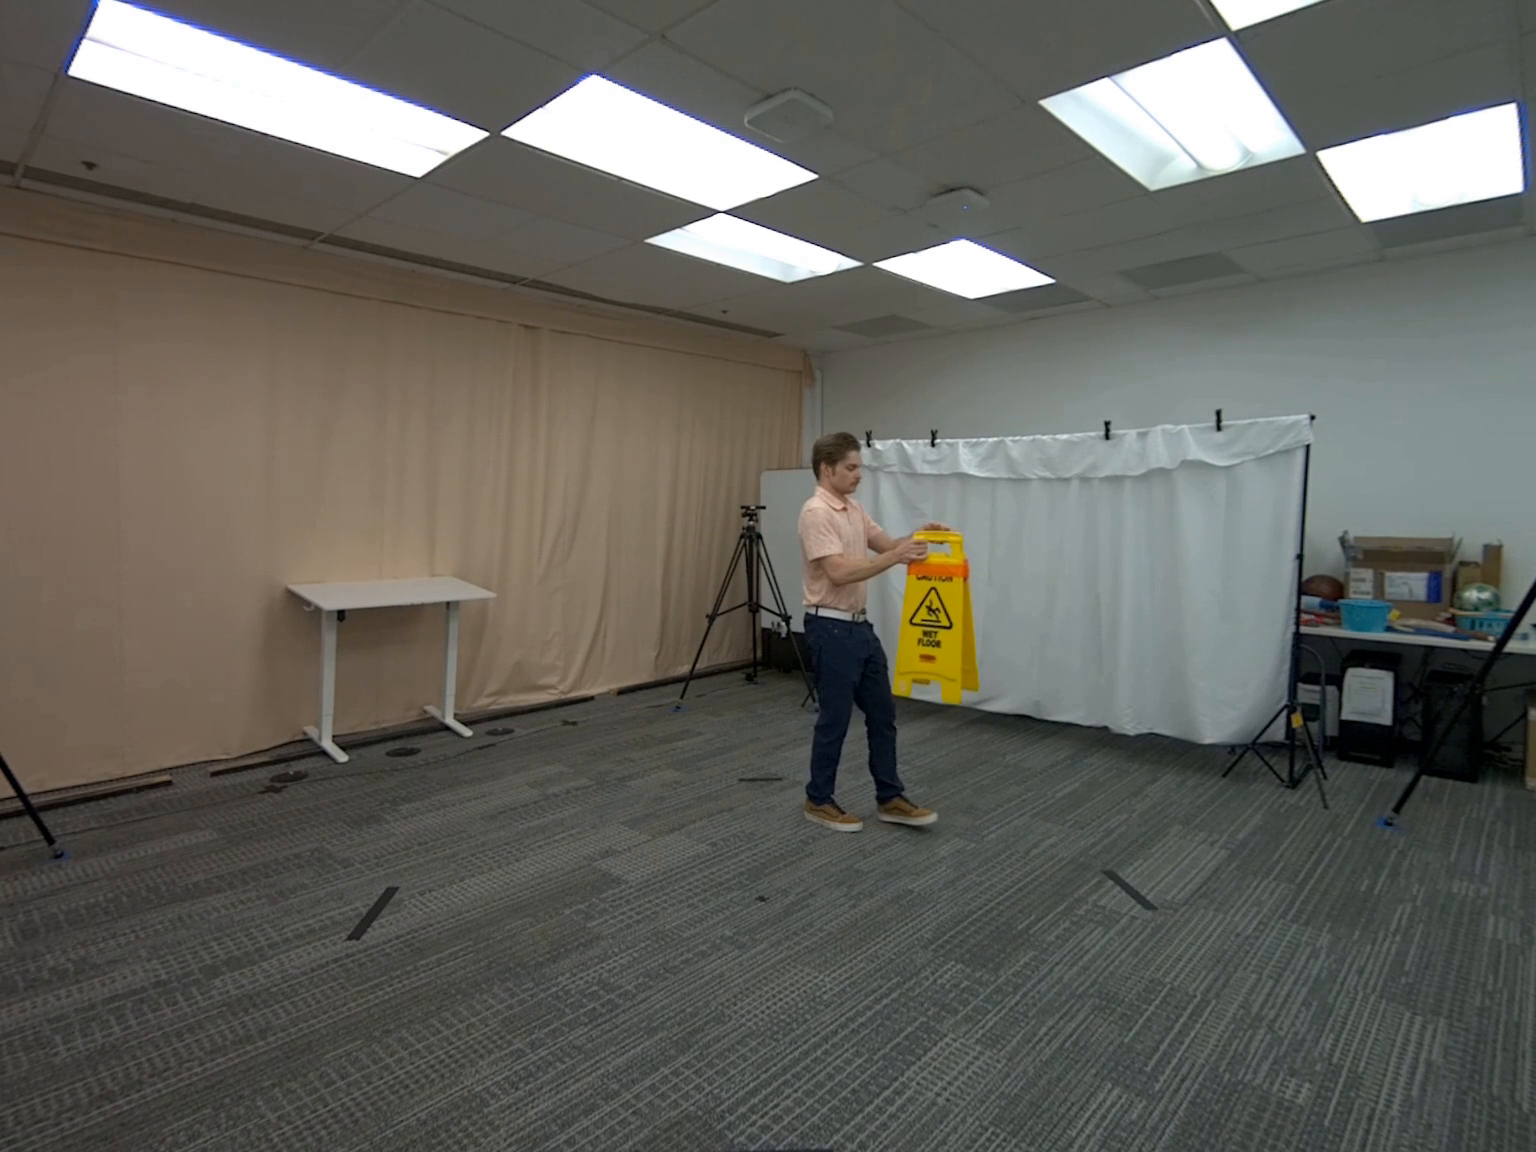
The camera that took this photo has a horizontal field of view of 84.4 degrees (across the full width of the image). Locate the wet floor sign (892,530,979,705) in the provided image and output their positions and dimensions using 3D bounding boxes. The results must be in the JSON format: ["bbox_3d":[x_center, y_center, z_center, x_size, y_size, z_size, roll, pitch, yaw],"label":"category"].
[{"bbox_3d":[0.685,0.150,3.383,0.291,0.644,0.282,4,6,32],"label":"wet floor sign"}]
